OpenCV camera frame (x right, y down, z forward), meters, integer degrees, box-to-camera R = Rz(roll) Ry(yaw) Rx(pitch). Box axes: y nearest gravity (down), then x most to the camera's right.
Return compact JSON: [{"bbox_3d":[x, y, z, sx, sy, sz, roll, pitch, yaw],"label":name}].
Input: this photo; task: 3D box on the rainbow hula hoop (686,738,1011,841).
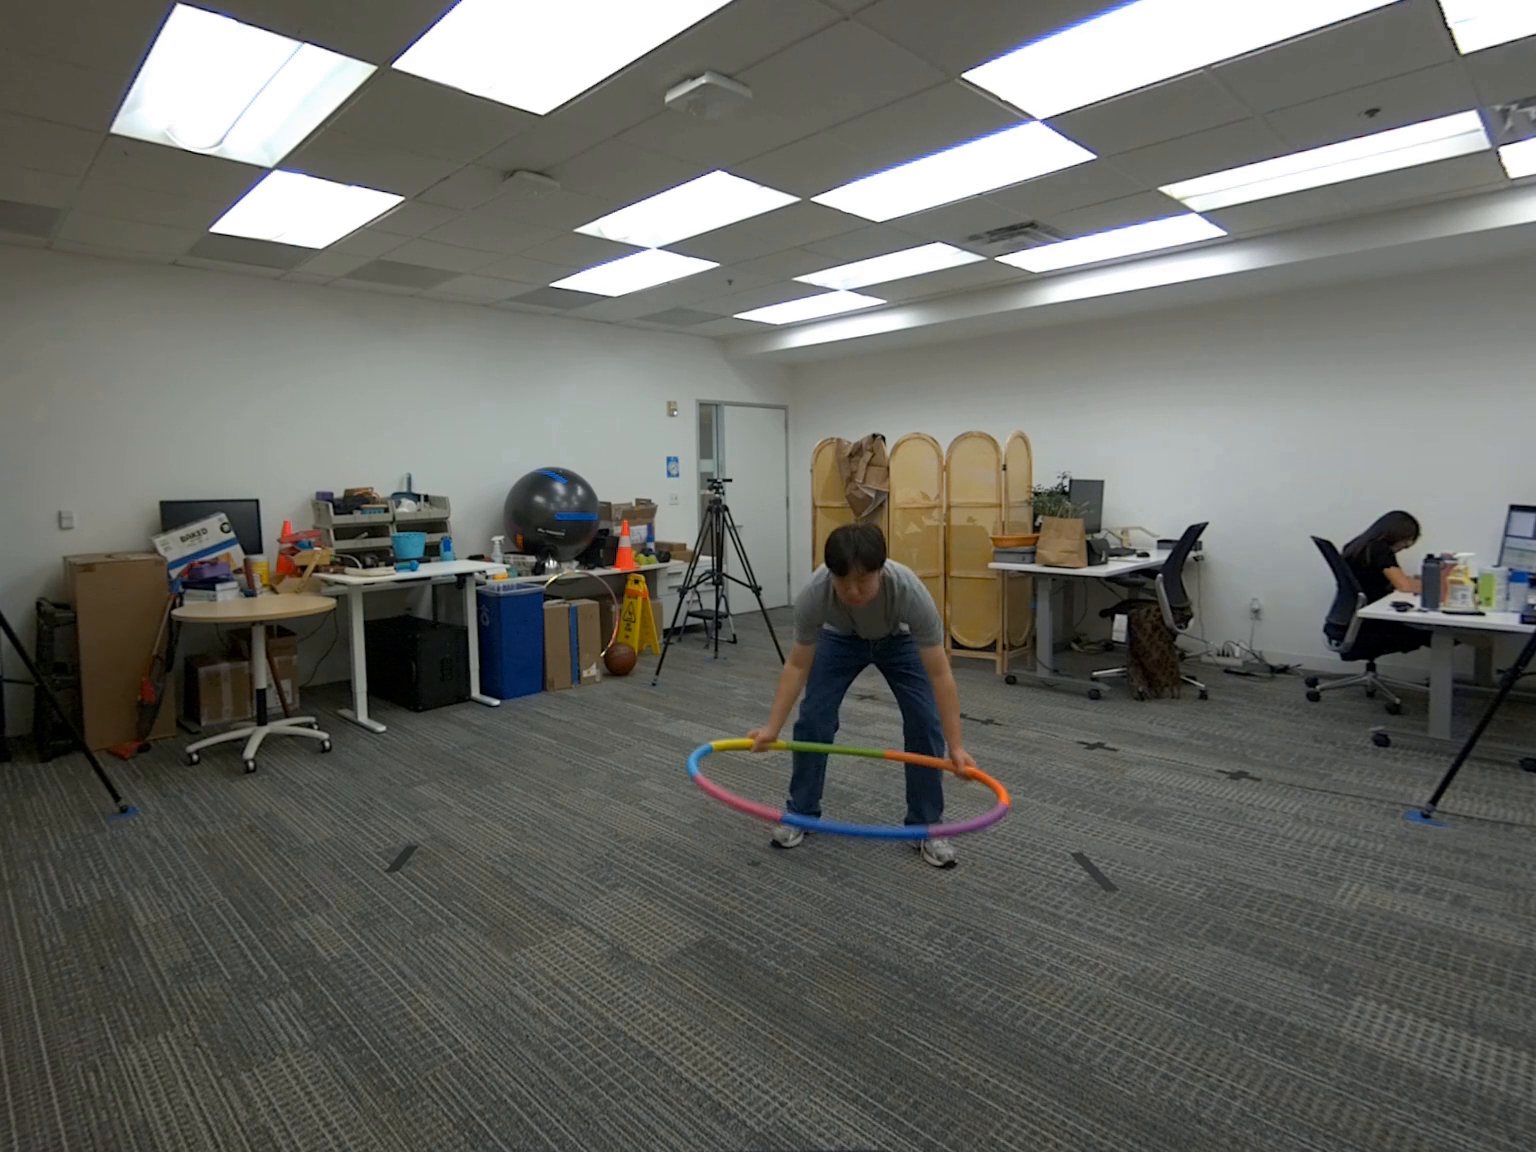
[{"bbox_3d":[0.238,0.632,2.653,0.978,0.035,0.980,5,1,-2],"label":"rainbow hula hoop"}]
